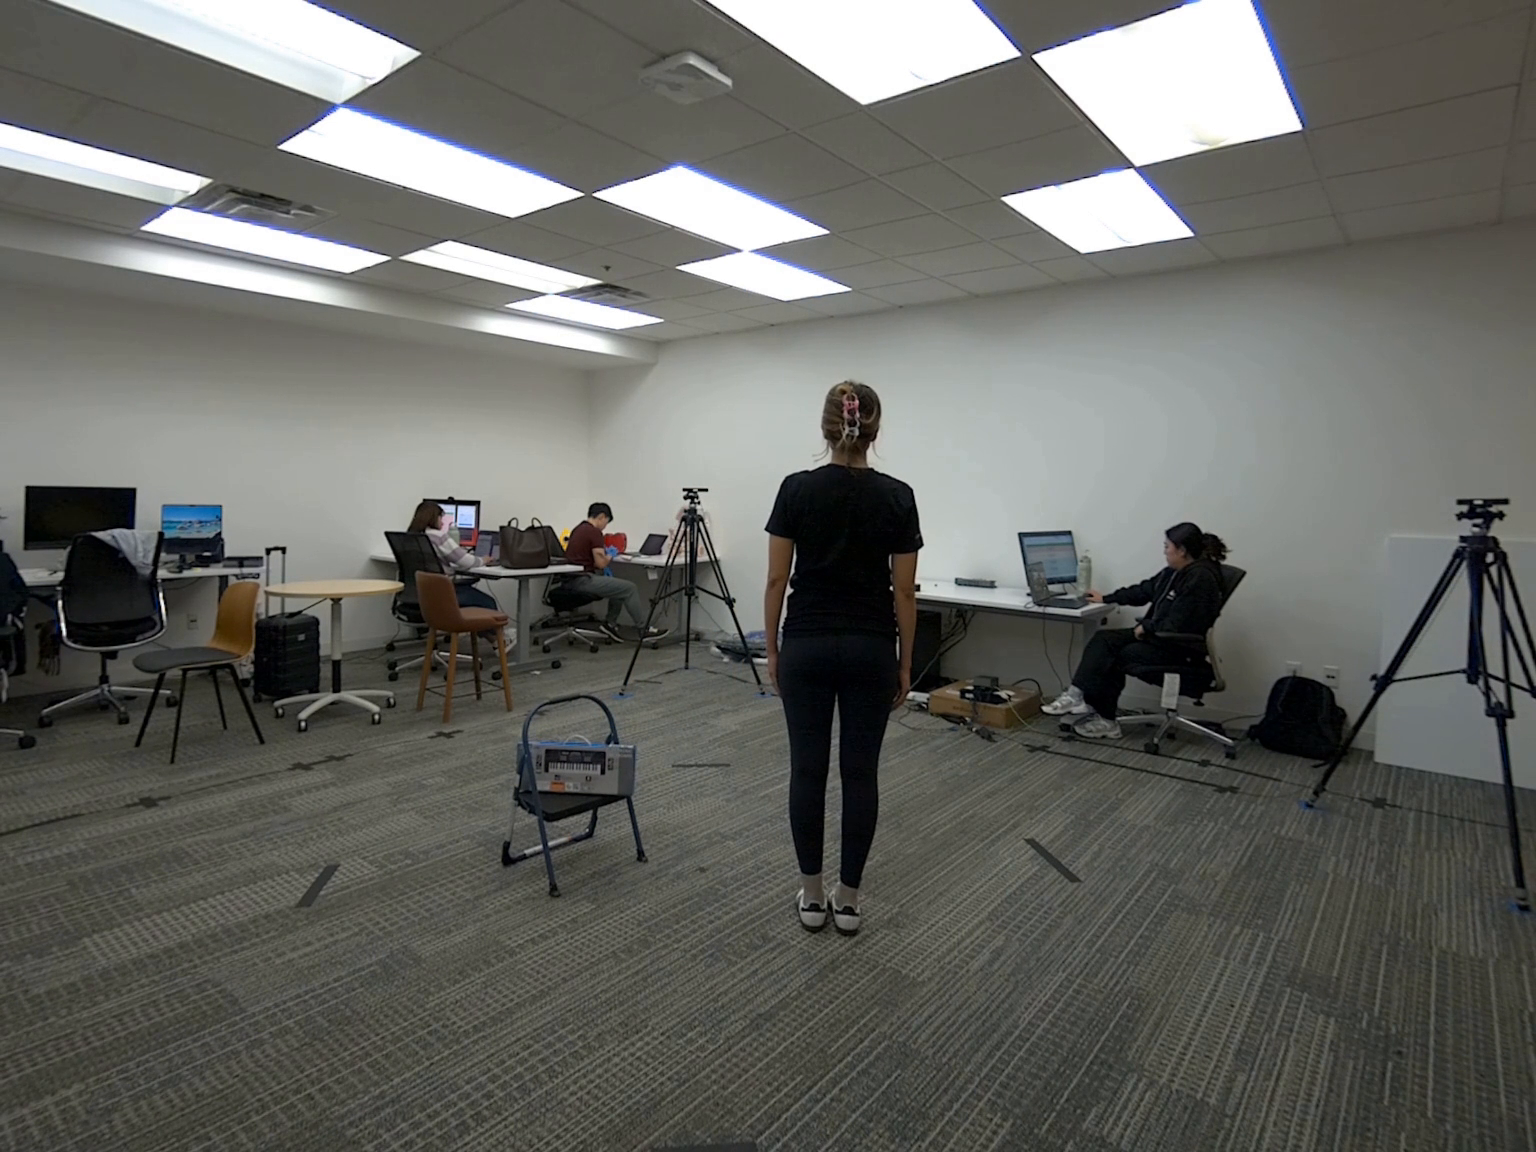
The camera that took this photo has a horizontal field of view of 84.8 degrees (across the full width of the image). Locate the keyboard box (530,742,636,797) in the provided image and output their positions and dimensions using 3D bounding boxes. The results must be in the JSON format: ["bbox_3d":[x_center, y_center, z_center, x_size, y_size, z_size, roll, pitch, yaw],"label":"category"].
[{"bbox_3d":[-0.729,0.710,3.143,0.438,0.176,0.059,2,-3,3],"label":"keyboard box"}]
